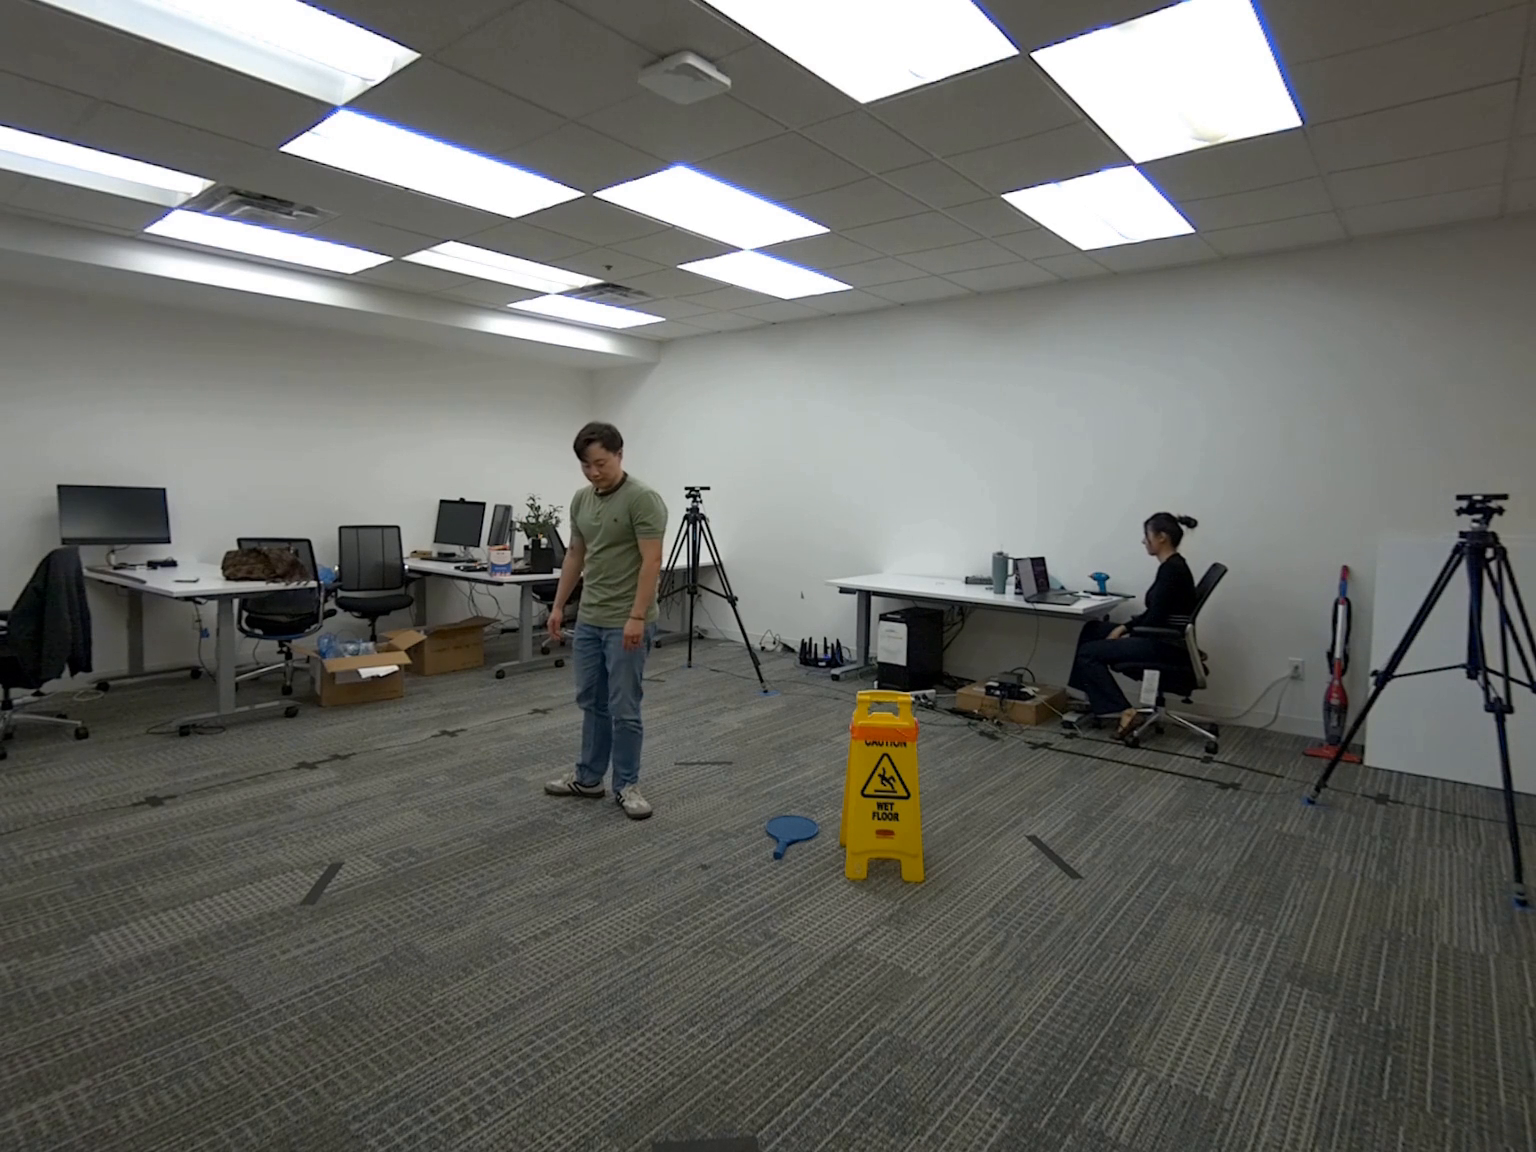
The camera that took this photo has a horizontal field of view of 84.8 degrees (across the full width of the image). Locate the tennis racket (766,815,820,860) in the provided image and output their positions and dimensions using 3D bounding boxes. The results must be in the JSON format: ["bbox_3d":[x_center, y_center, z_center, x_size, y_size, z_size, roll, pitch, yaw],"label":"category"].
[{"bbox_3d":[0.074,1.029,3.391,0.217,0.031,0.428,2,4,12],"label":"tennis racket"}]
